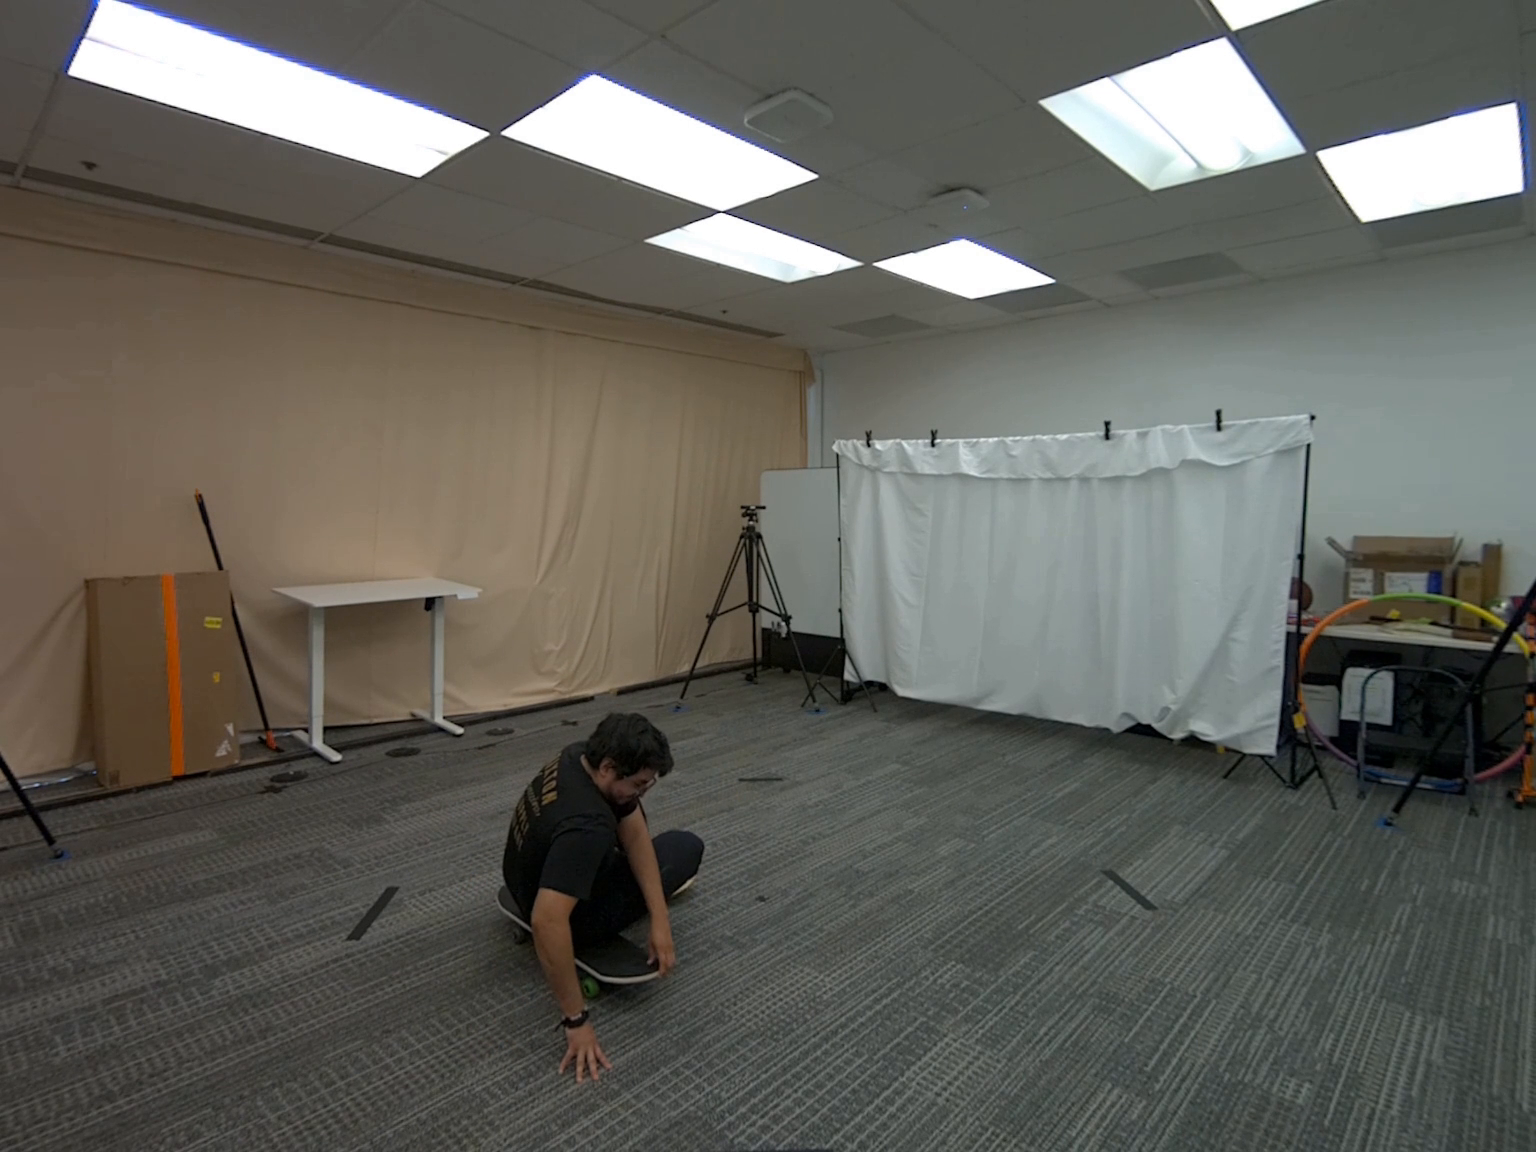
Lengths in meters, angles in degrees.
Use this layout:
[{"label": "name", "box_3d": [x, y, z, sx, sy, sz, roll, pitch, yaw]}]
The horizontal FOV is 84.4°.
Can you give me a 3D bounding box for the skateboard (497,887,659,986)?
[{"label": "skateboard", "box_3d": [-0.591, 1.125, 2.601, 0.187, 0.110, 0.812, -1, 3, -44]}]
